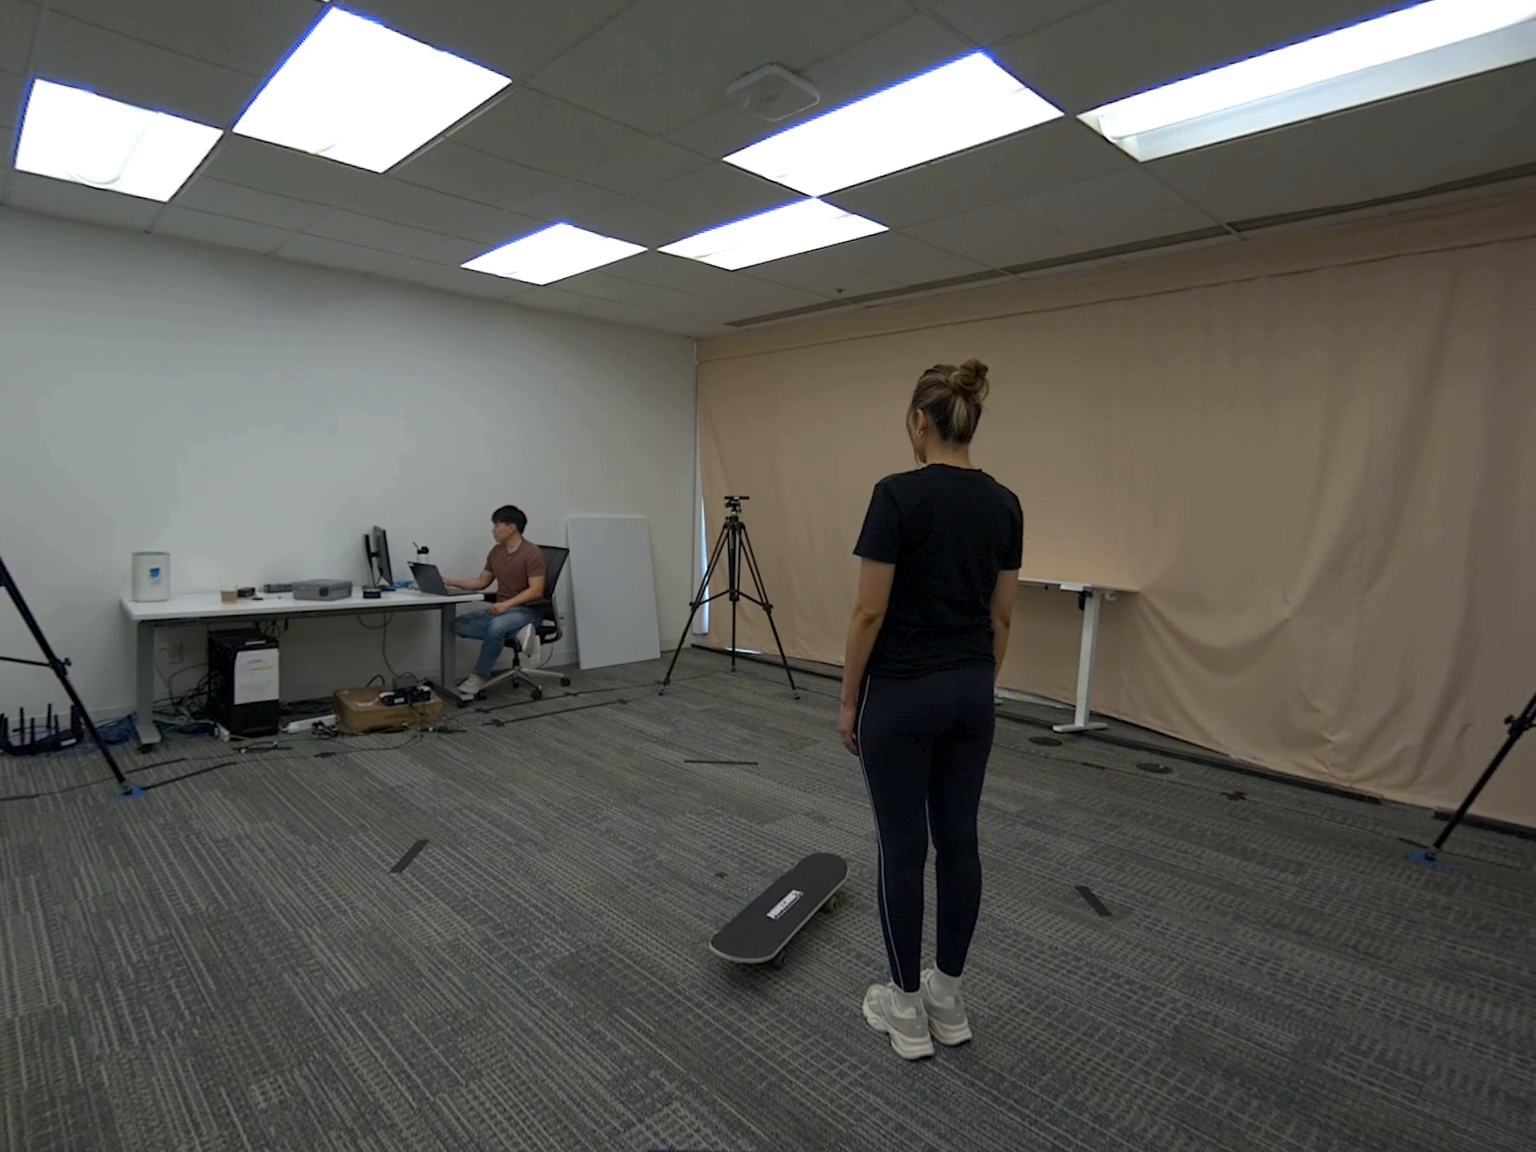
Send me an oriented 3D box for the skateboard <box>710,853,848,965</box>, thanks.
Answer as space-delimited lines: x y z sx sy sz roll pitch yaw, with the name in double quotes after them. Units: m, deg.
0.051 1.086 2.705 0.197 0.110 0.772 5 6 26 "skateboard"
